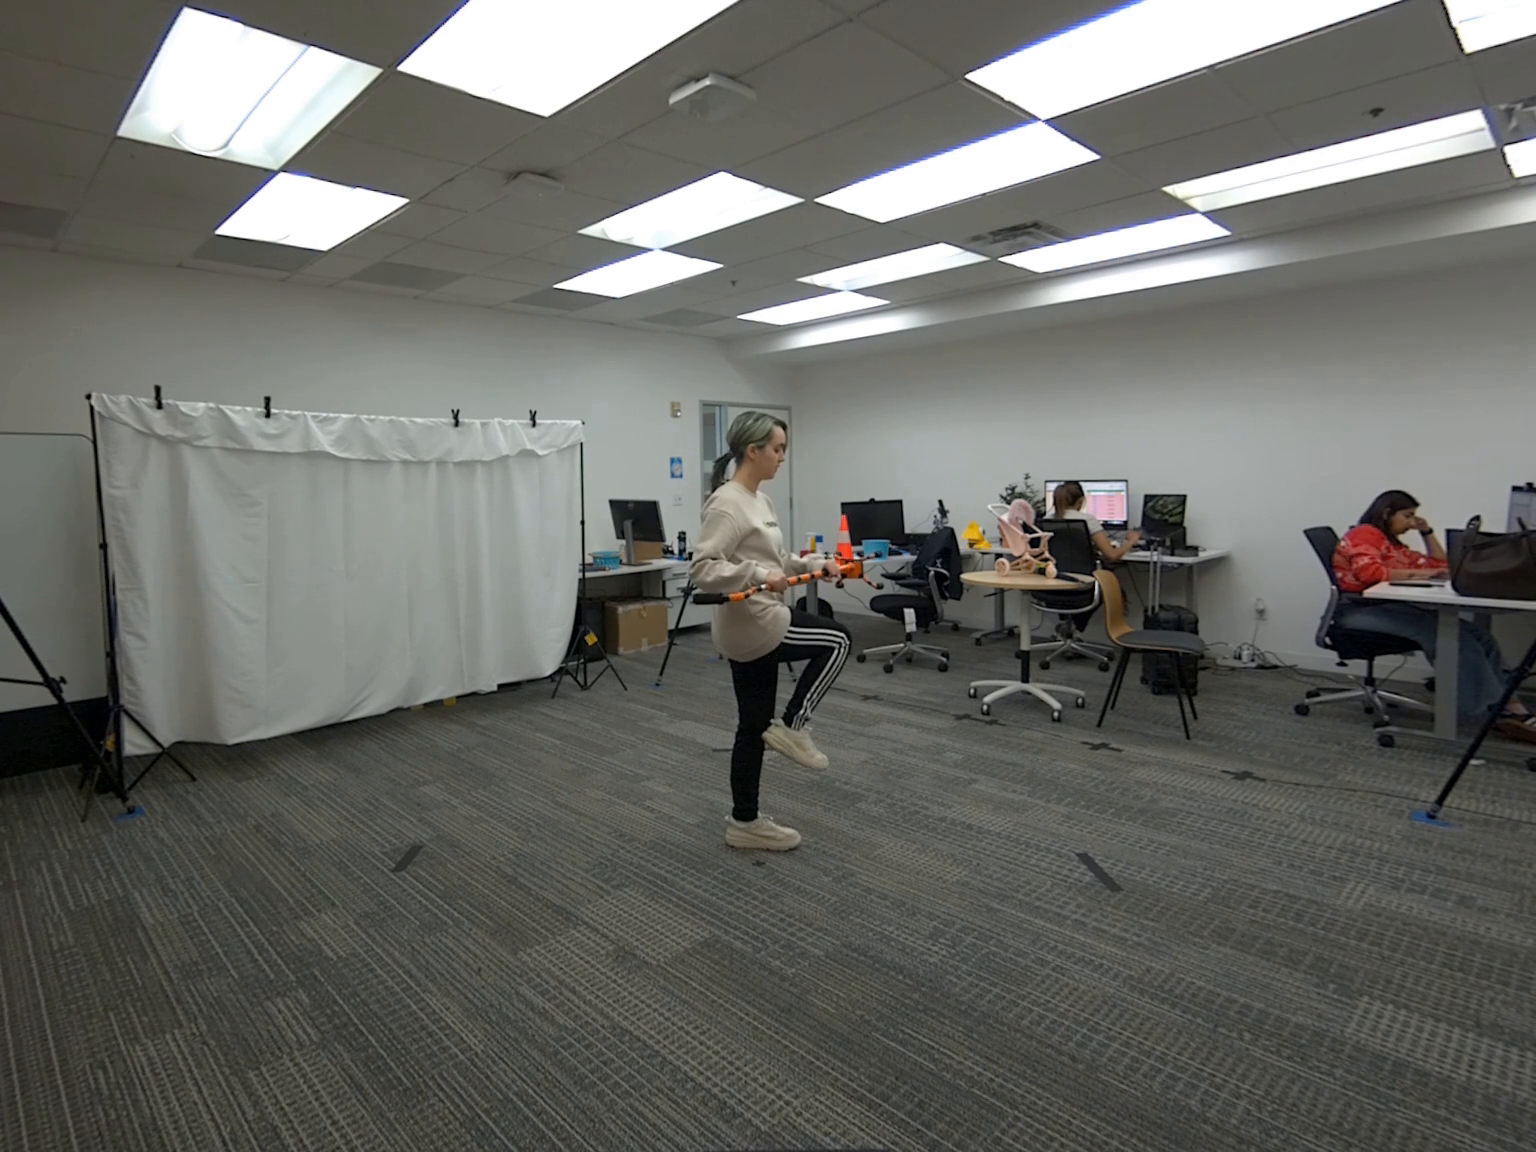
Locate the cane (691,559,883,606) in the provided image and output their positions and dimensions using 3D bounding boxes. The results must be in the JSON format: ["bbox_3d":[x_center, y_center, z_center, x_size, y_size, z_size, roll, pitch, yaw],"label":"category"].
[{"bbox_3d":[0.117,0.030,2.983,0.212,0.151,0.887,0,7,36],"label":"cane"}]
